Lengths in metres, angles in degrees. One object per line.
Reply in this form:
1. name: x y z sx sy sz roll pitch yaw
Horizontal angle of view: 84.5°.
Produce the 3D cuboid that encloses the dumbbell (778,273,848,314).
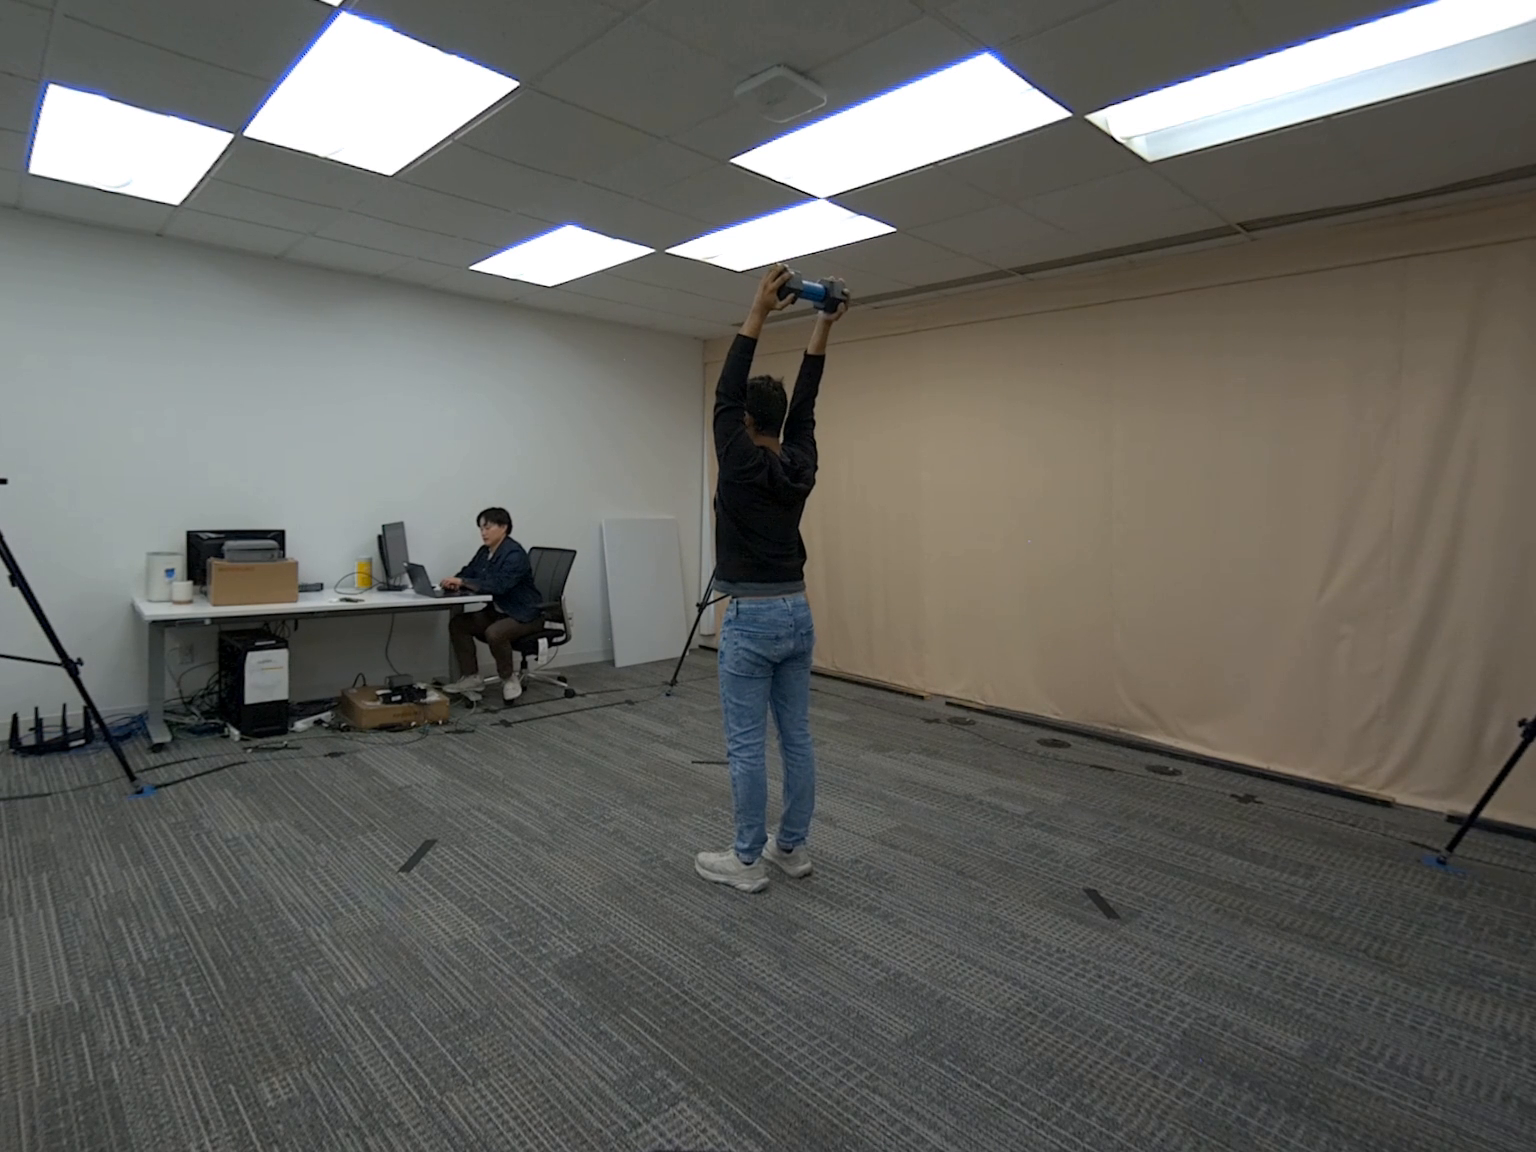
1. dumbbell: 0.120 -0.981 2.875 0.287 0.107 0.127 -5 28 -39
